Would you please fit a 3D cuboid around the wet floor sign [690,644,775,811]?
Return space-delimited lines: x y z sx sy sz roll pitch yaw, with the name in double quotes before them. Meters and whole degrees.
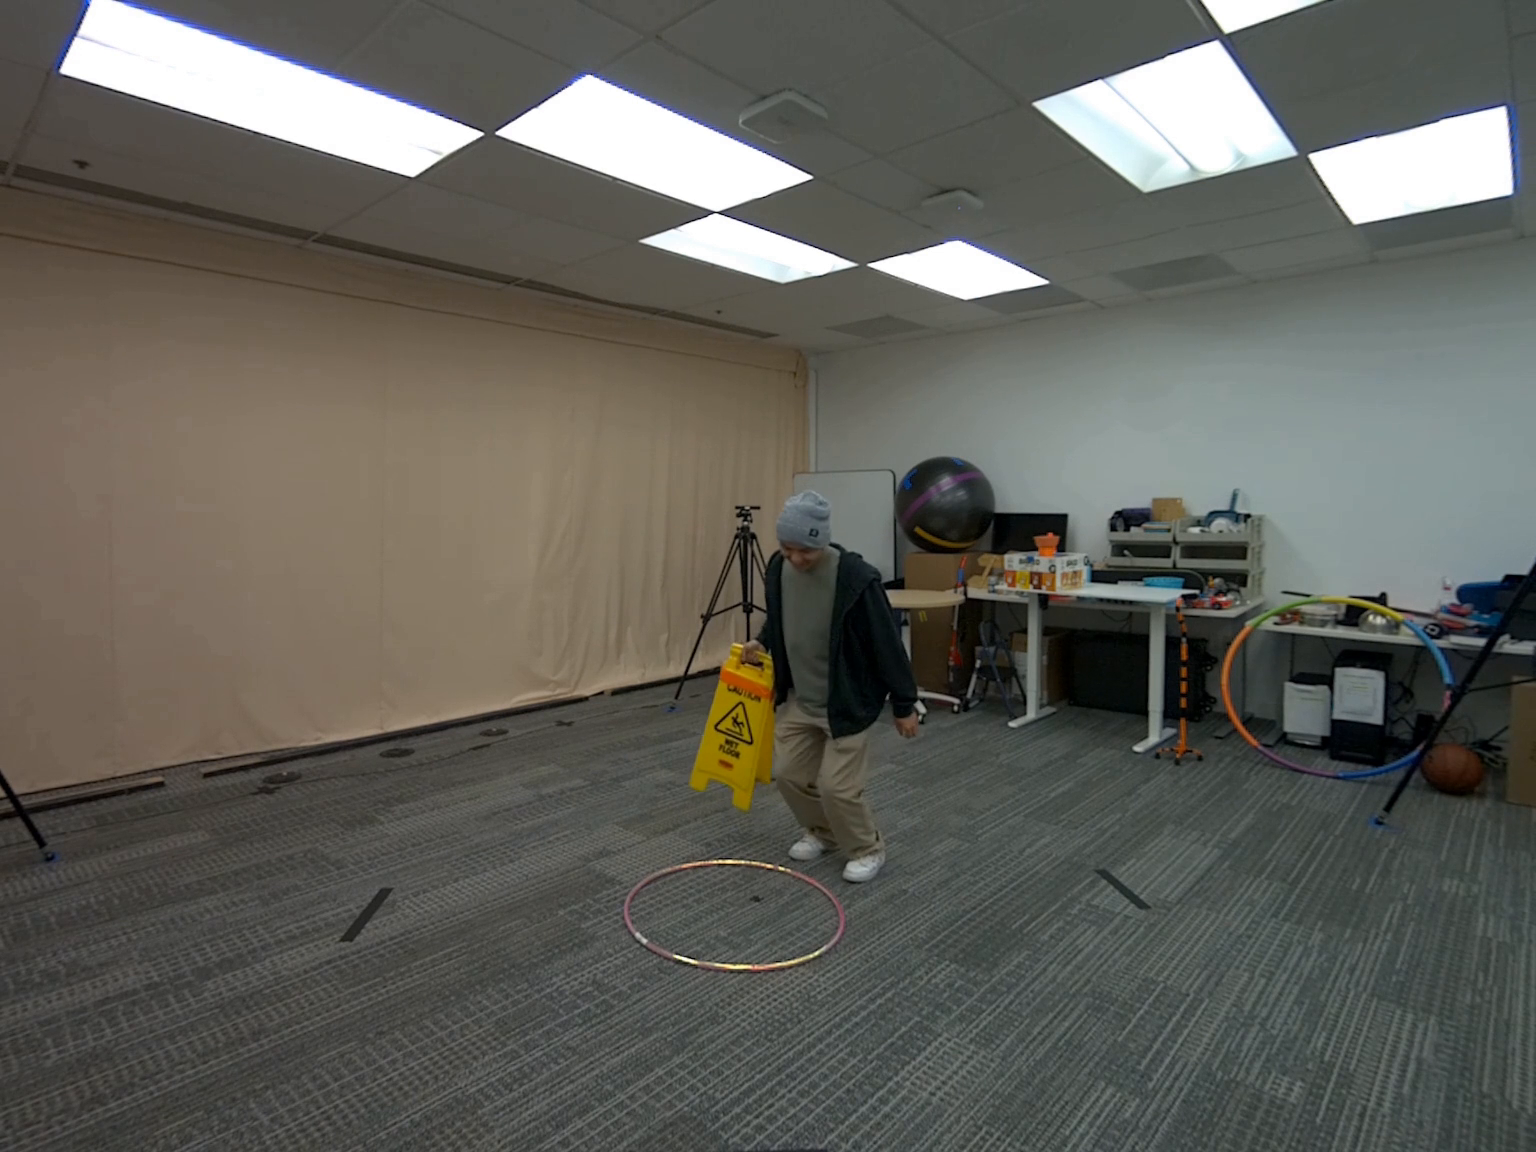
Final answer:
"wet floor sign" -0.109 0.569 3.466 0.289 0.640 0.285 17 21 21
